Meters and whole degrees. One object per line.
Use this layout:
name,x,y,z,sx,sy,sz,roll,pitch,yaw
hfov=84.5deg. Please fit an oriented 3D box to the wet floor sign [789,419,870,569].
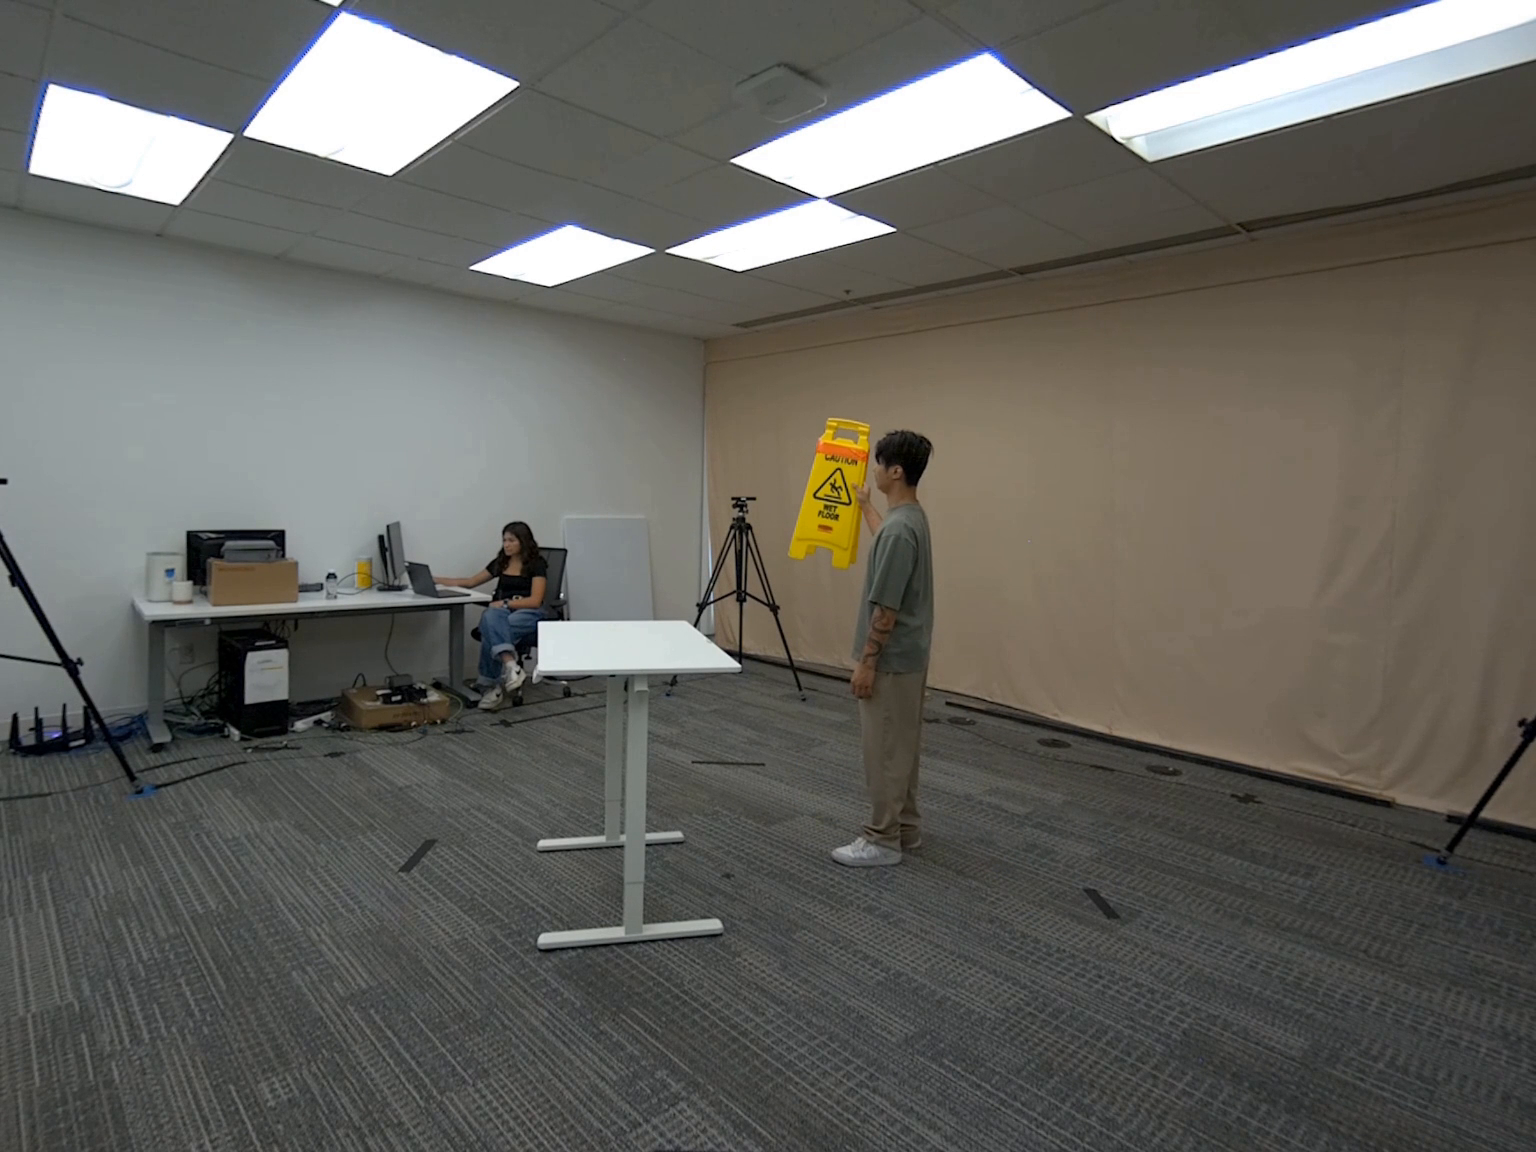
wet floor sign,0.311,-0.387,3.863,0.286,0.643,0.287,12,8,14
